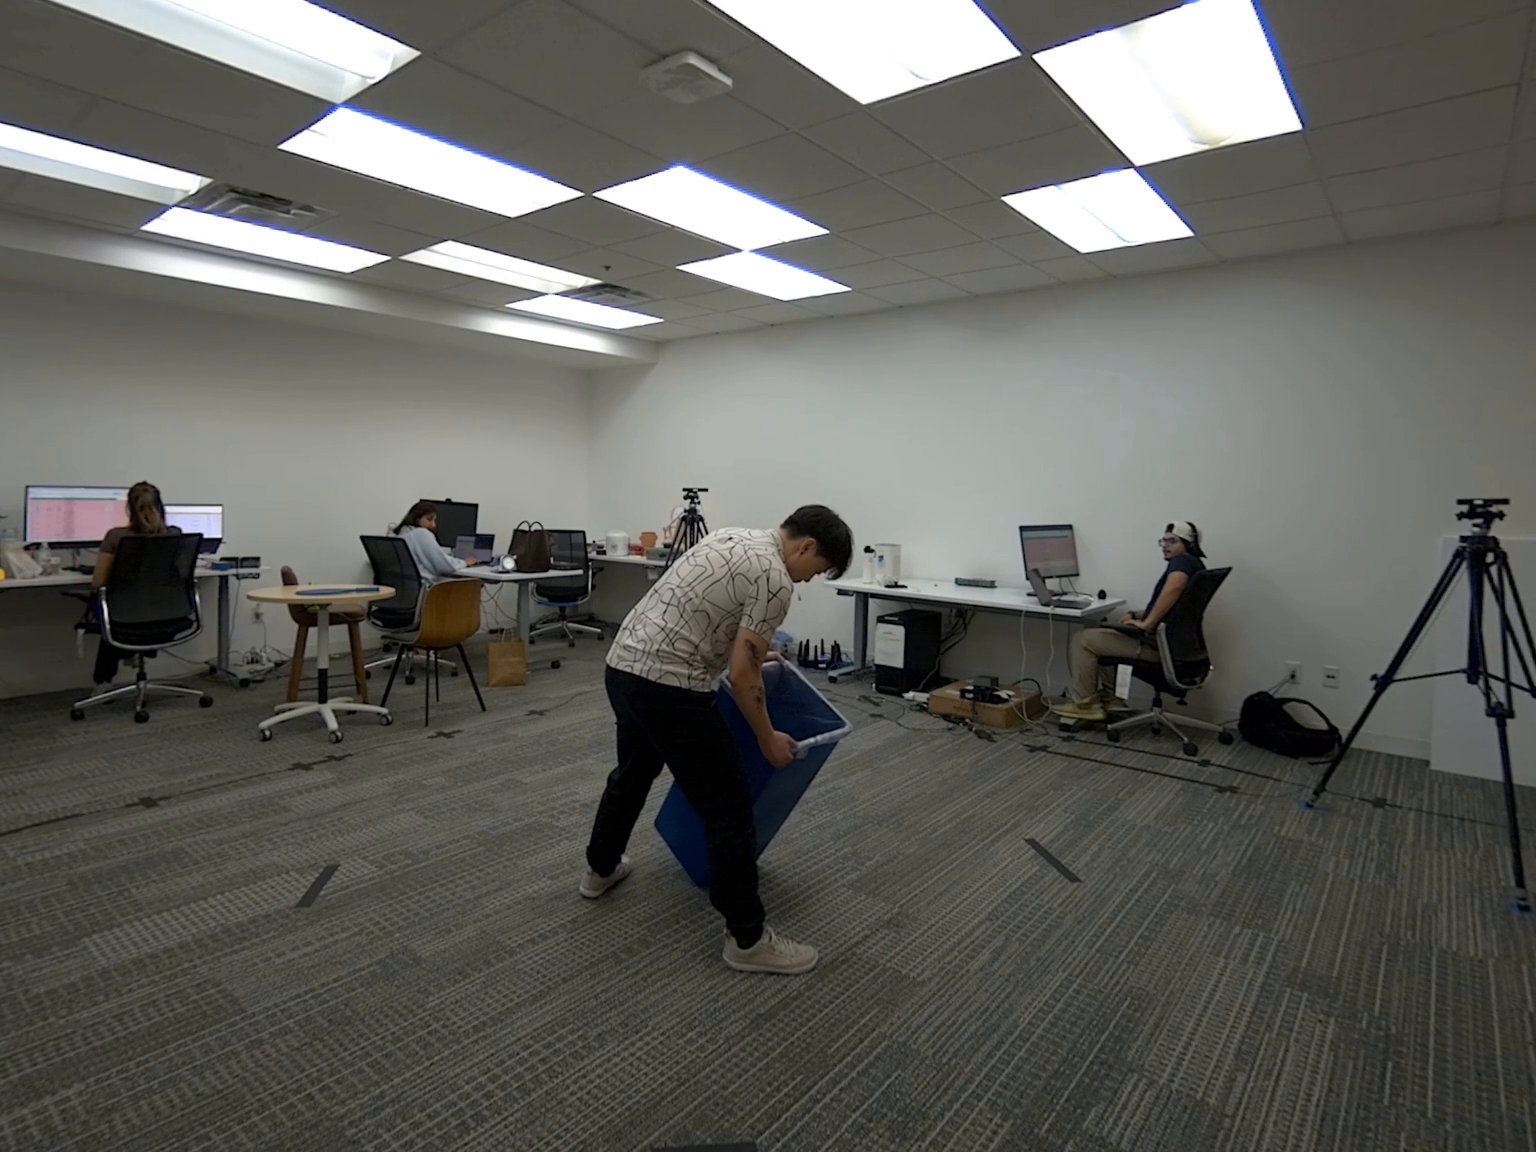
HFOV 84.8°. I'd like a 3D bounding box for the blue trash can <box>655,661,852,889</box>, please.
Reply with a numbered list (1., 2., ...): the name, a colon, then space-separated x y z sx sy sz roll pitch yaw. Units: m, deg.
1. blue trash can: -0.094 0.700 2.995 0.363 0.707 0.393 -4 39 -48
